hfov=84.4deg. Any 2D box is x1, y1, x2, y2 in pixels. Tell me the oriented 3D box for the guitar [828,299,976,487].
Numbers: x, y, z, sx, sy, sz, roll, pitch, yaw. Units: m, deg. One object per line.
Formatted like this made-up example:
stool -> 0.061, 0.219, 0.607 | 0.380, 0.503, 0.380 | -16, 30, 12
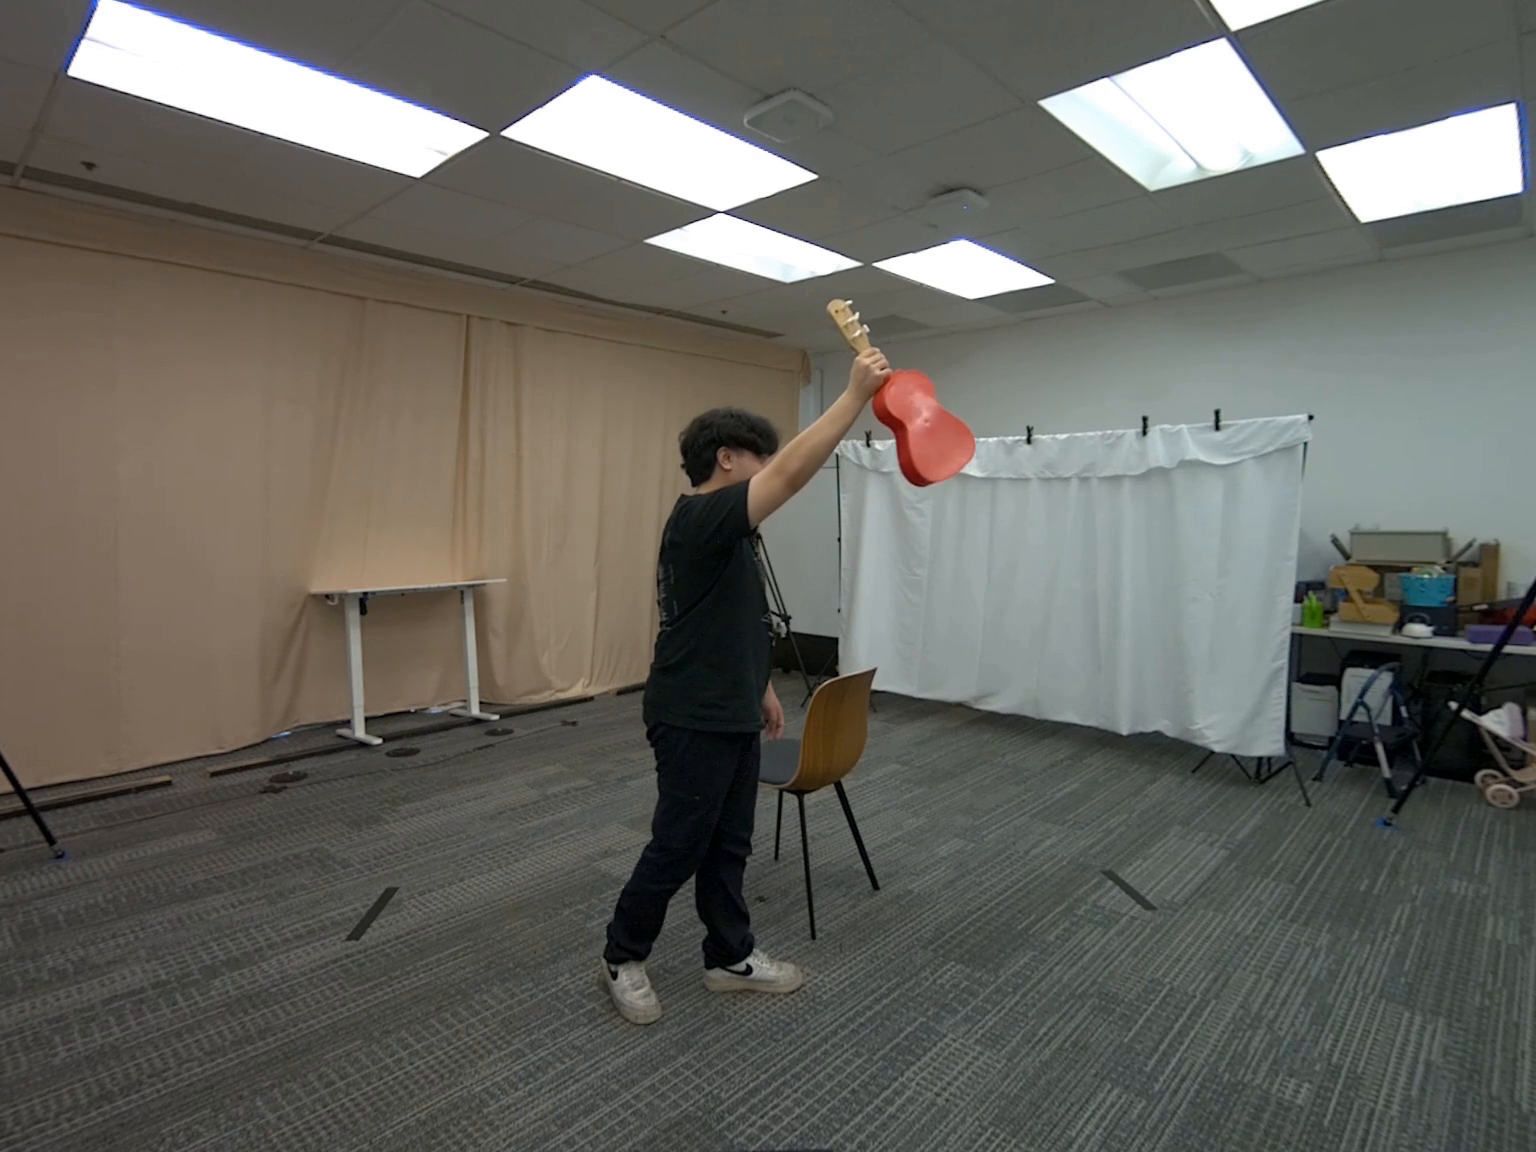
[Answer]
guitar -> 0.280, -0.428, 1.985 | 0.191, 0.495, 0.072 | -42, 6, -23
